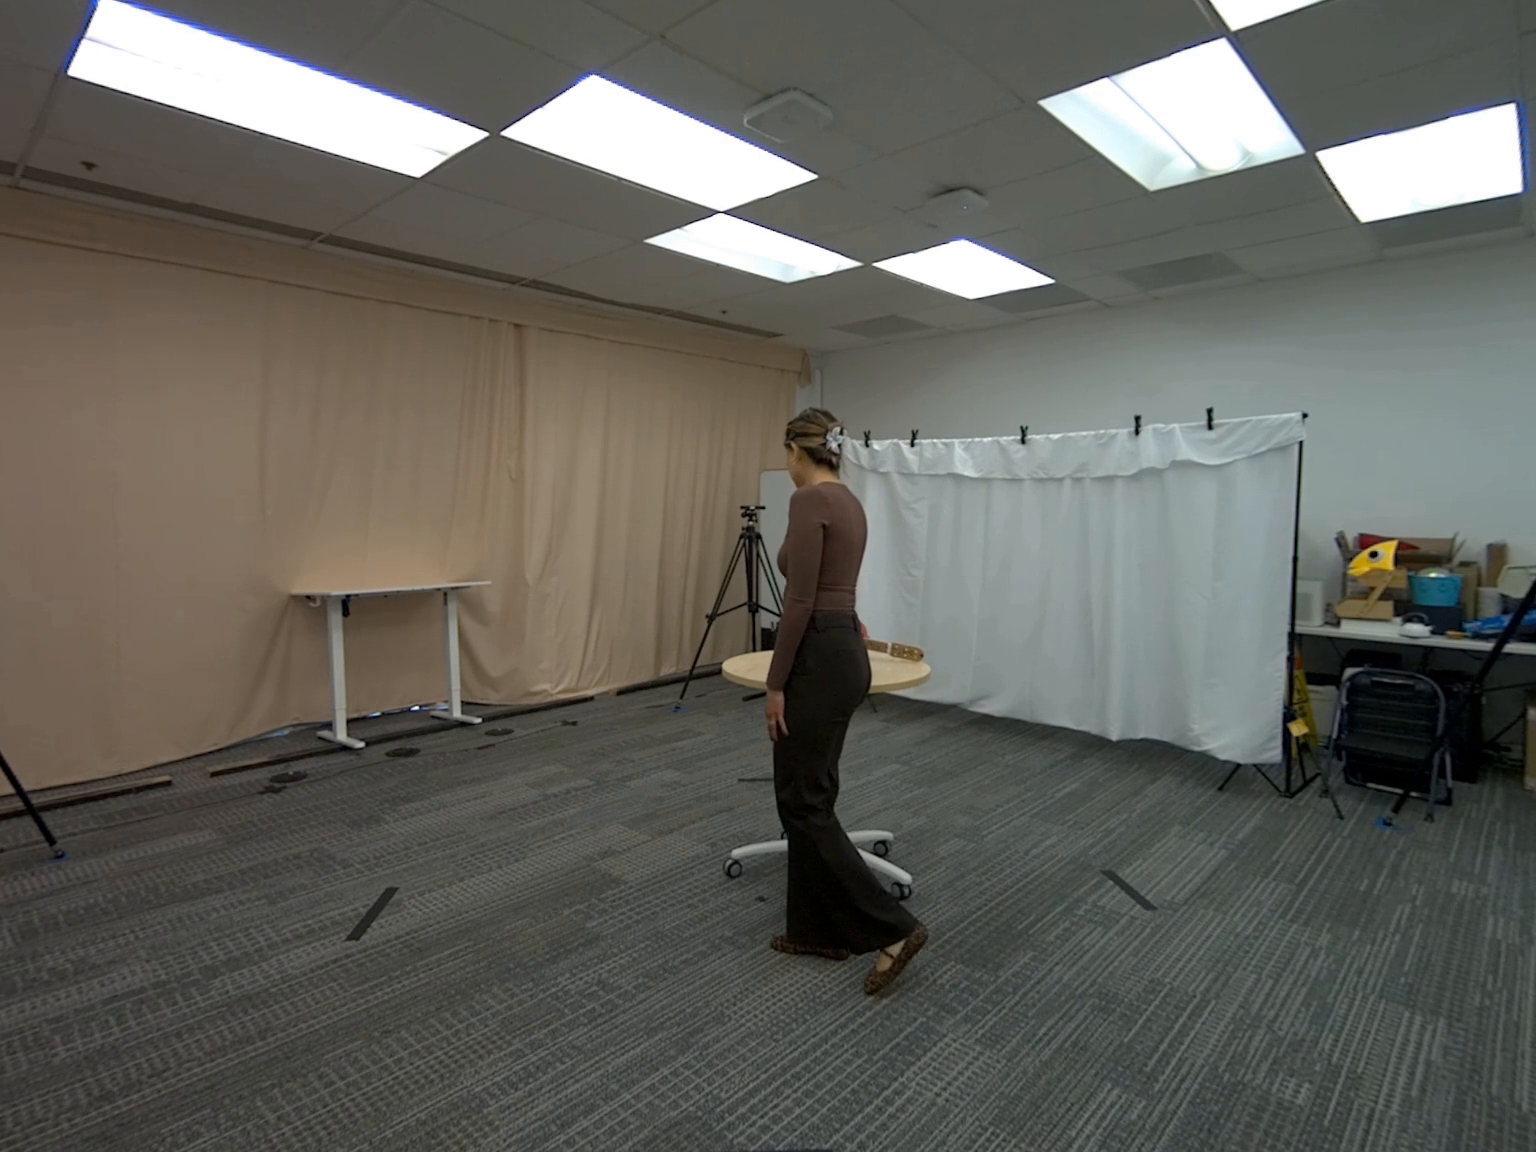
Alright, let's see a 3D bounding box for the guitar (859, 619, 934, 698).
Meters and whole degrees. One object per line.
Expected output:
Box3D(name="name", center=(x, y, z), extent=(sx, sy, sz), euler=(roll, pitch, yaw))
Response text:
Box3D(name="guitar", center=(0.361, 0.279, 3.278), extent=(0.511, 0.192, 0.069), euler=(20, 10, 22))
